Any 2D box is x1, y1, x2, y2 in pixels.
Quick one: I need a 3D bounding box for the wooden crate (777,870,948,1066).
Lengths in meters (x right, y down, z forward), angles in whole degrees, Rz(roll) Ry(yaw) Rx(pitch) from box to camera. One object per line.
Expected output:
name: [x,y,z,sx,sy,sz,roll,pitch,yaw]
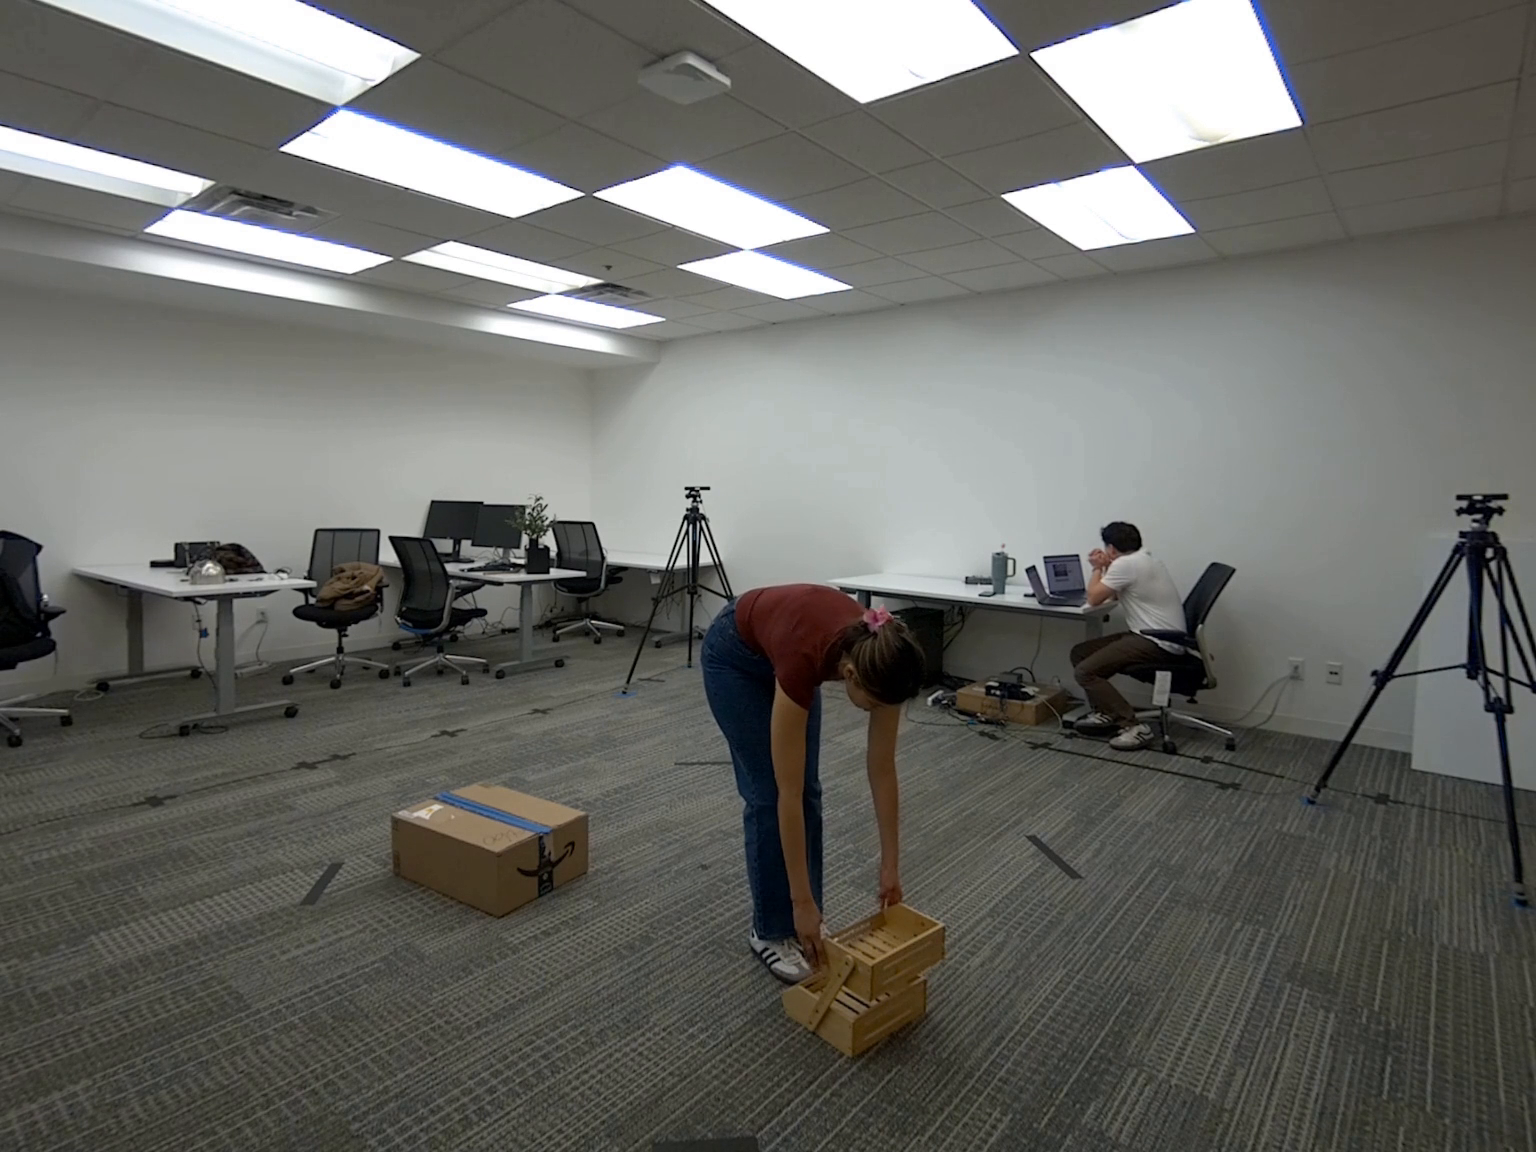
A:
wooden crate: [0.248,1.018,2.238,0.315,0.272,0.312,-4,7,-42]
